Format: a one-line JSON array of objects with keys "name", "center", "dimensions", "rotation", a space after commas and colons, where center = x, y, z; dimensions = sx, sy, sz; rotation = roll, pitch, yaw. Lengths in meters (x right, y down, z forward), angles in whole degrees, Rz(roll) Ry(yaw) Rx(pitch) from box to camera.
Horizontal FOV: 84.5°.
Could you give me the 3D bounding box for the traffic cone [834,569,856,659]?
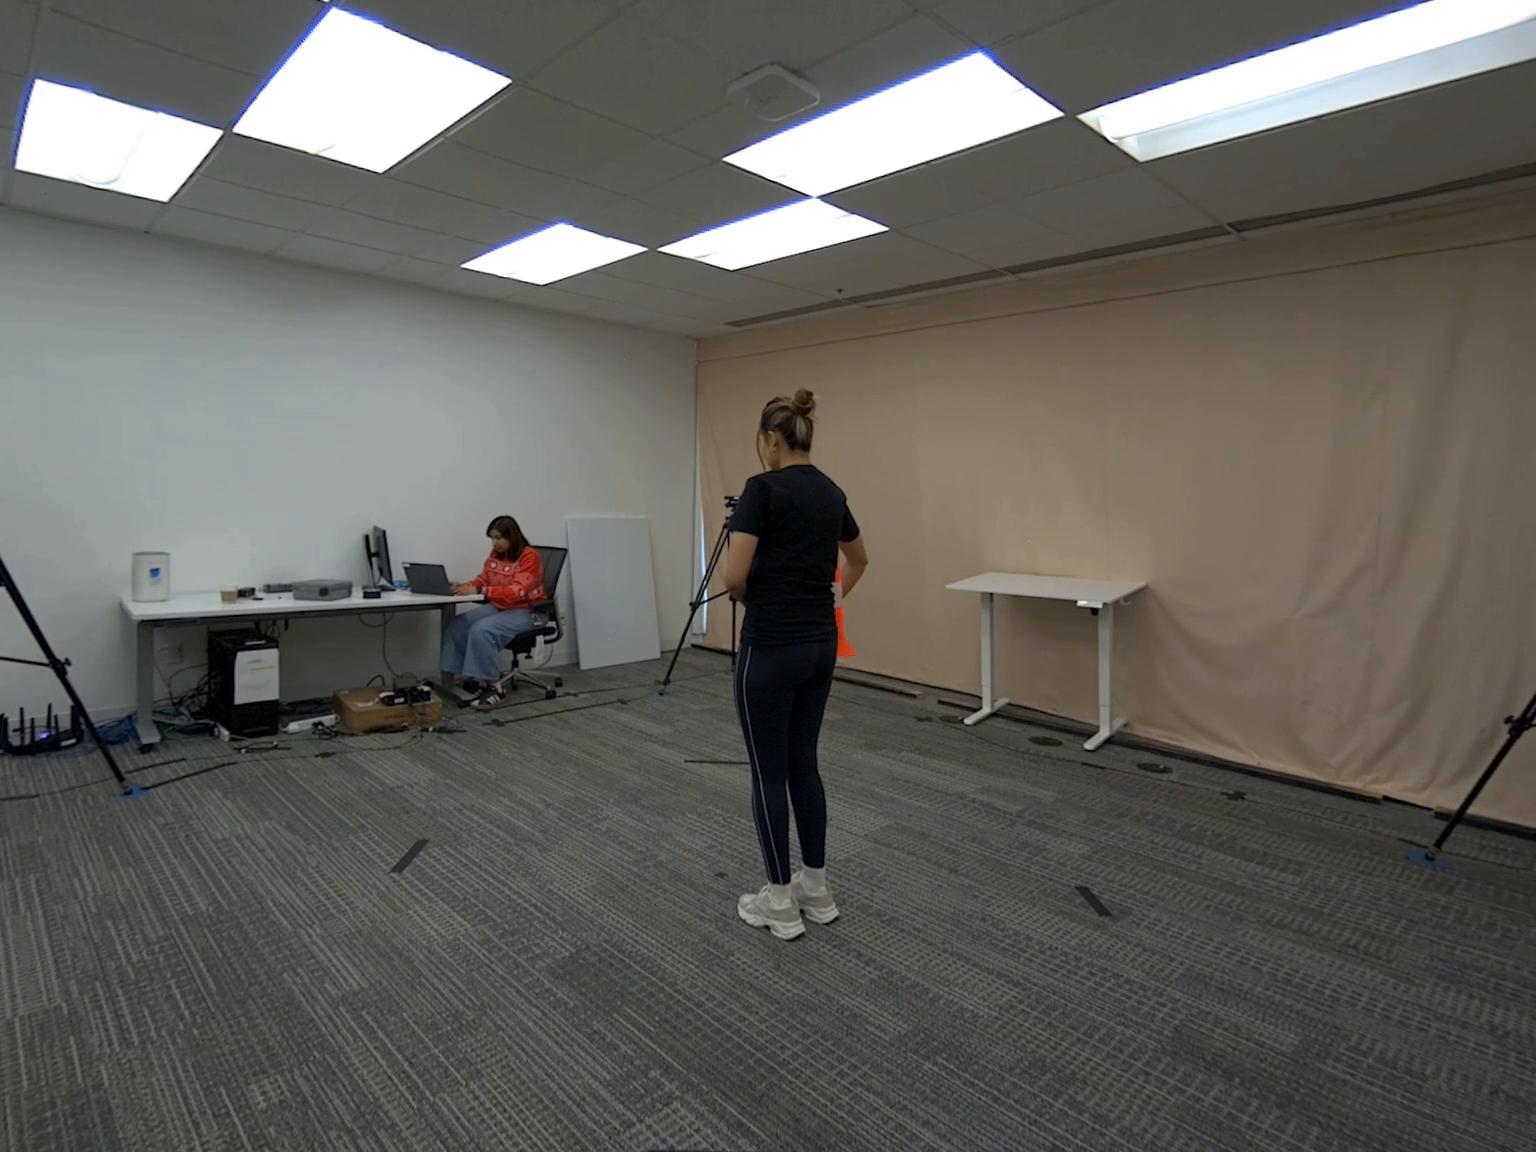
[{"name": "traffic cone", "center": [0.212, 0.072, 2.952], "dimensions": [0.200, 0.378, 0.210], "rotation": [-3, 22, -20]}]
